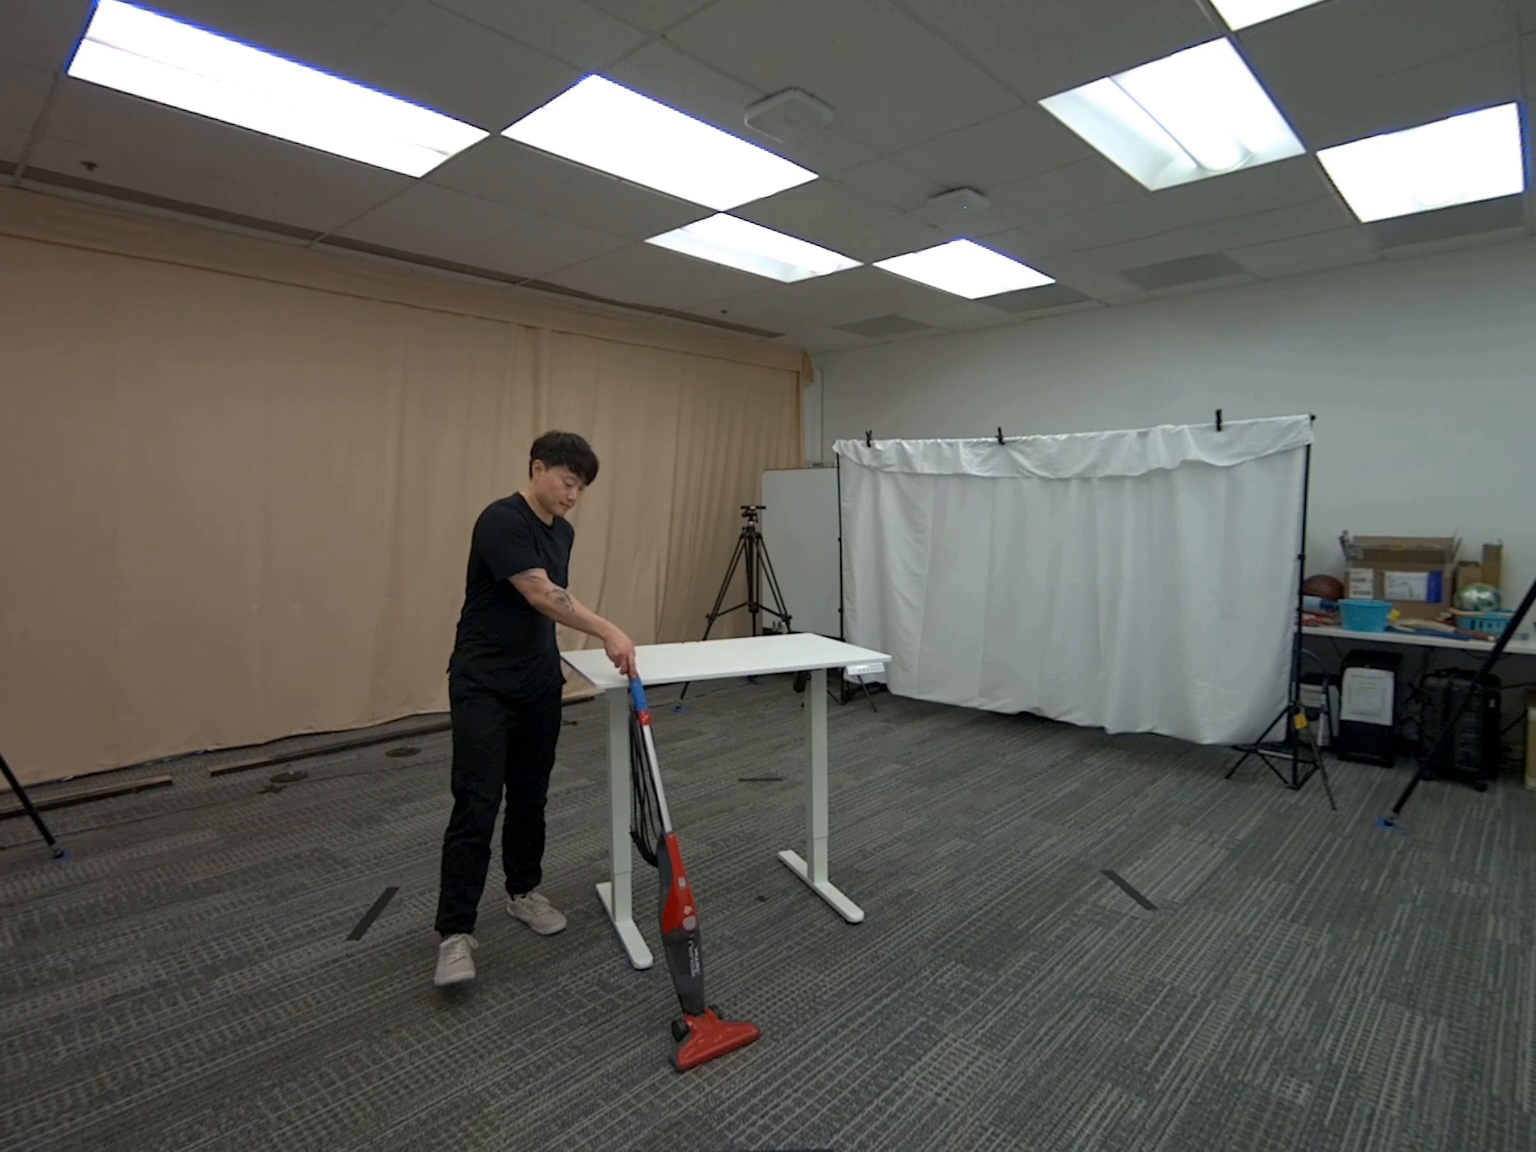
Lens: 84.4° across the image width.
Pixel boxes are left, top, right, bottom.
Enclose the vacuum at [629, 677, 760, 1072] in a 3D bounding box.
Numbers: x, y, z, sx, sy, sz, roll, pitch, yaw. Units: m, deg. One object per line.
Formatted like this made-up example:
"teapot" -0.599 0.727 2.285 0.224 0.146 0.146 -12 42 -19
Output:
"vacuum" -0.289 0.720 2.334 0.245 1.064 0.146 -1 -21 -42
